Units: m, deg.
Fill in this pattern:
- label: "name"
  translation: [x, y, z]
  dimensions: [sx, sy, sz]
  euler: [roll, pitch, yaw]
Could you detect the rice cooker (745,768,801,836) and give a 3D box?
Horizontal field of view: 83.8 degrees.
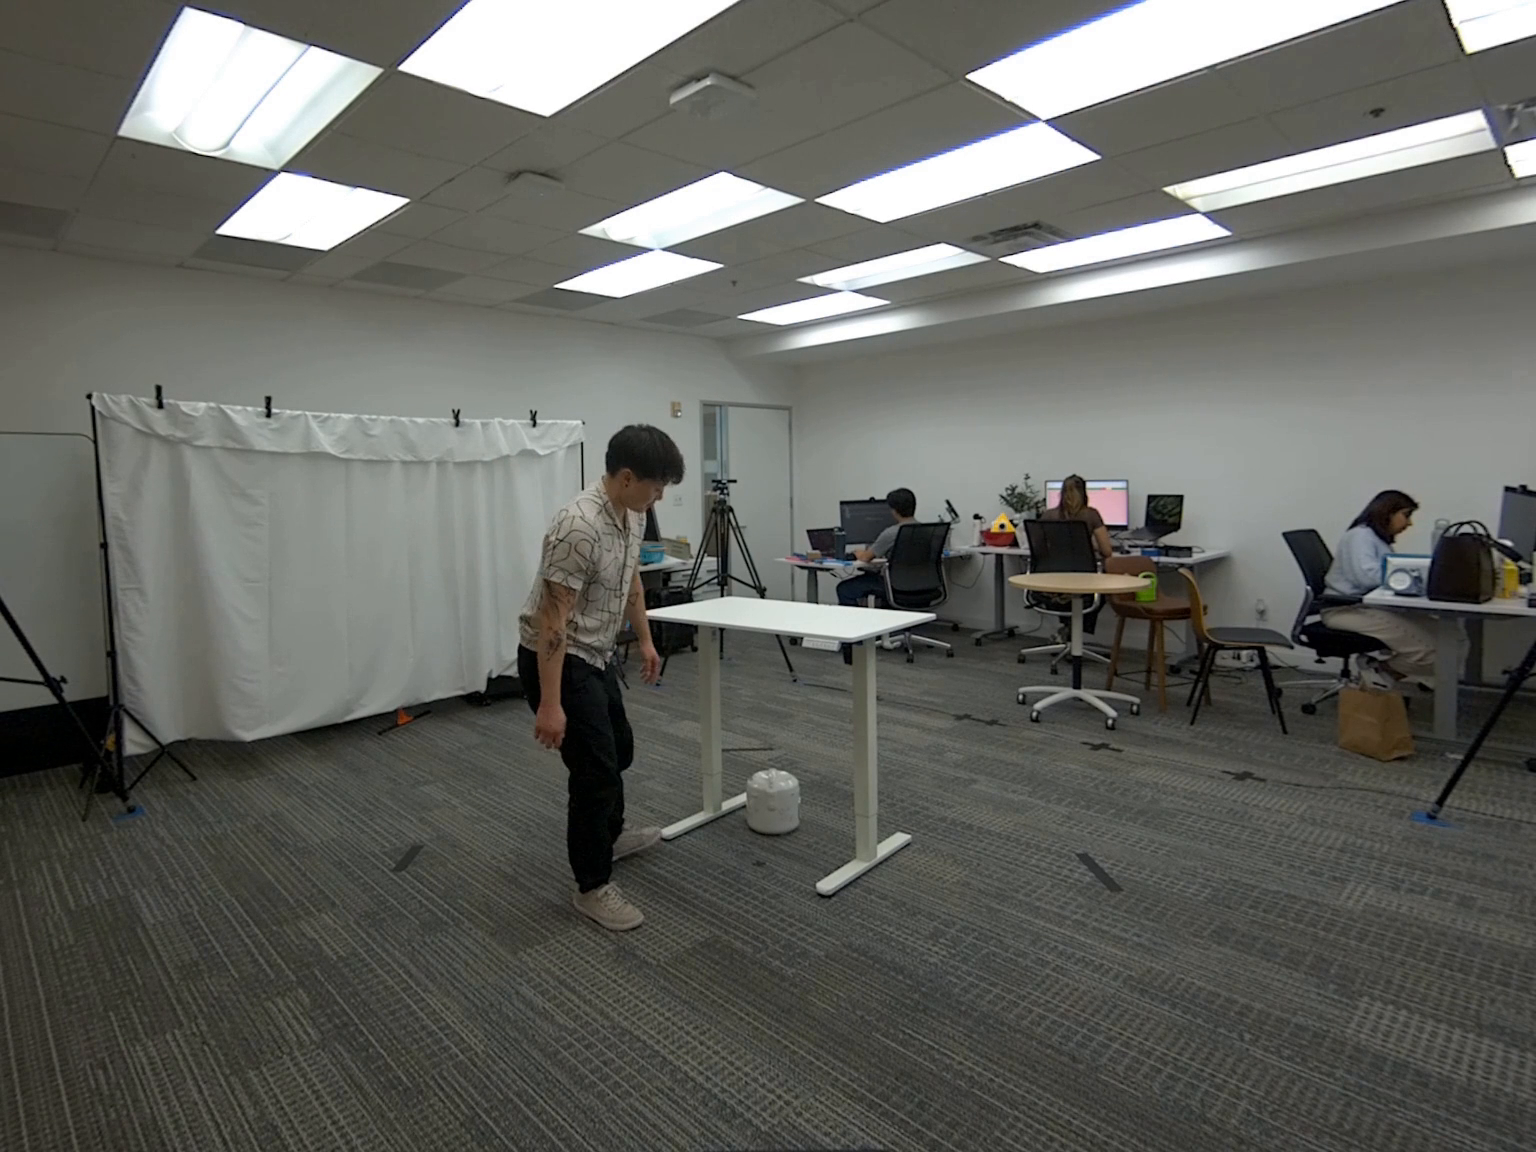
- label: "rice cooker"
  translation: [0.024, 0.894, 3.430]
  dimensions: [0.219, 0.232, 0.220]
  euler: [-1, 5, 5]
